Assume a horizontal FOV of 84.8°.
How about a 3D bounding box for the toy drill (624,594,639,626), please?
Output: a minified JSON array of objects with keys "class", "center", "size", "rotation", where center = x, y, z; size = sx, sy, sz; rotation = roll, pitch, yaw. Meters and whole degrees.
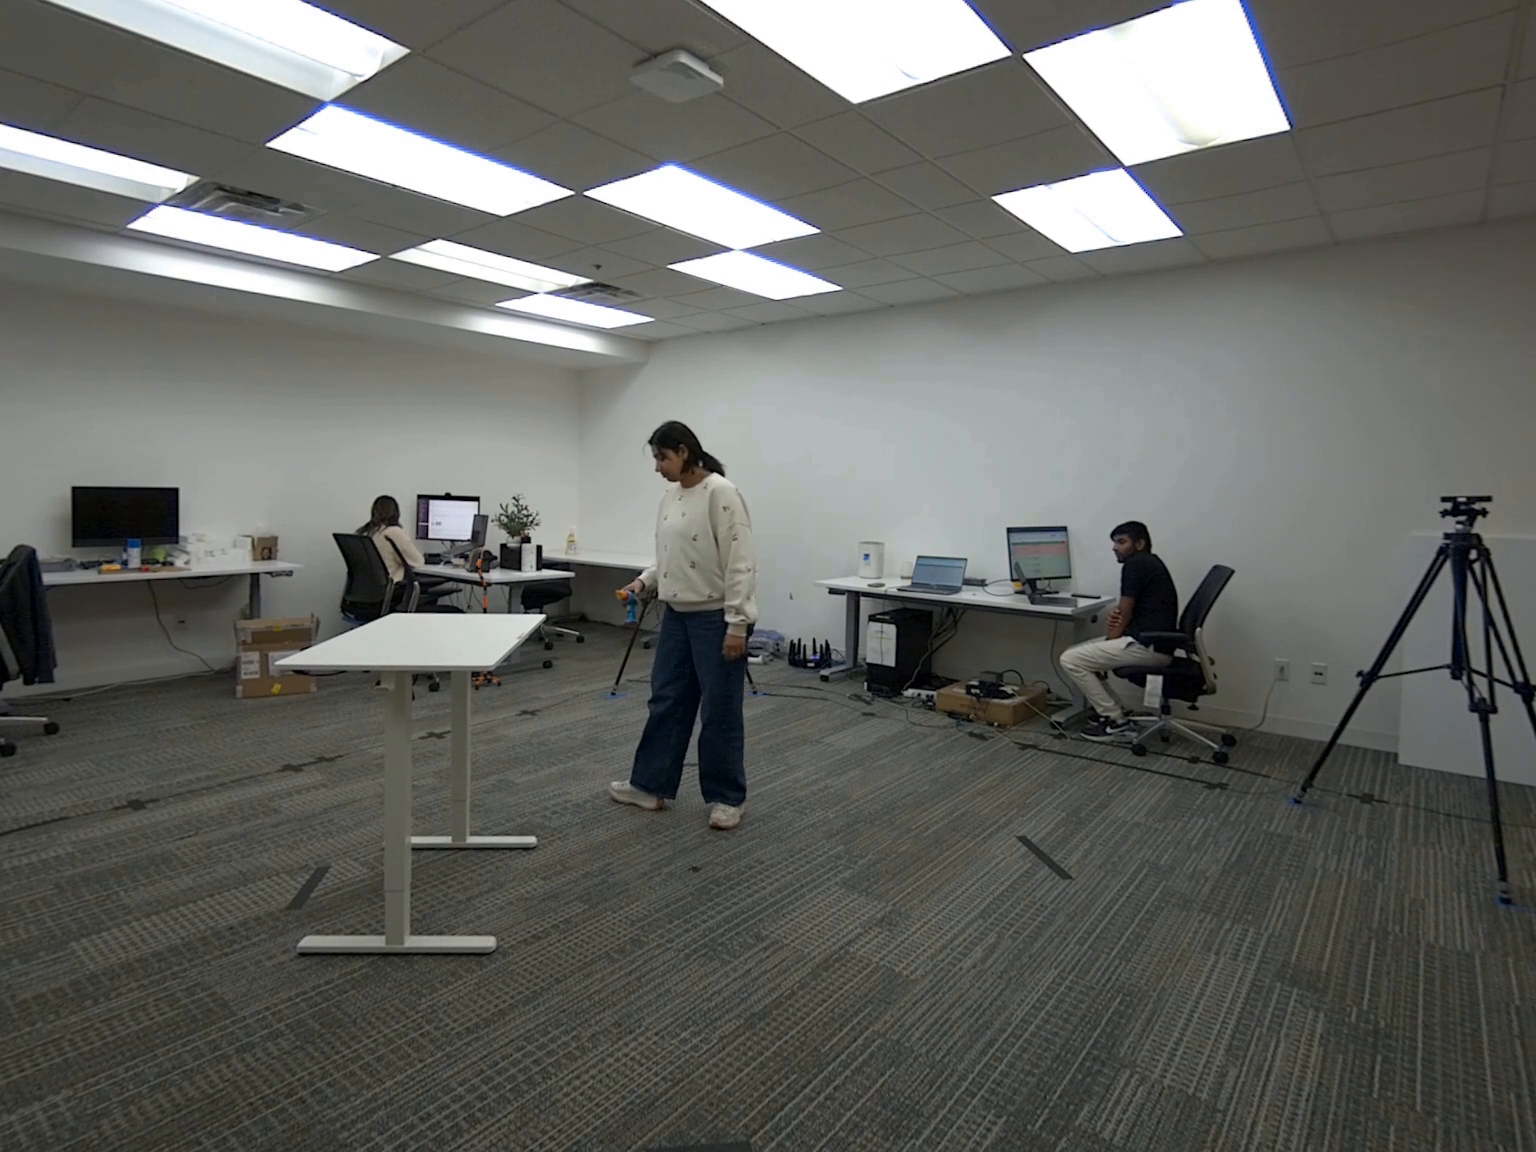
[{"class":"toy drill","center":[-0.601,0.123,3.572],"size":[0.062,0.149,0.164],"rotation":[-10,-23,13]}]
